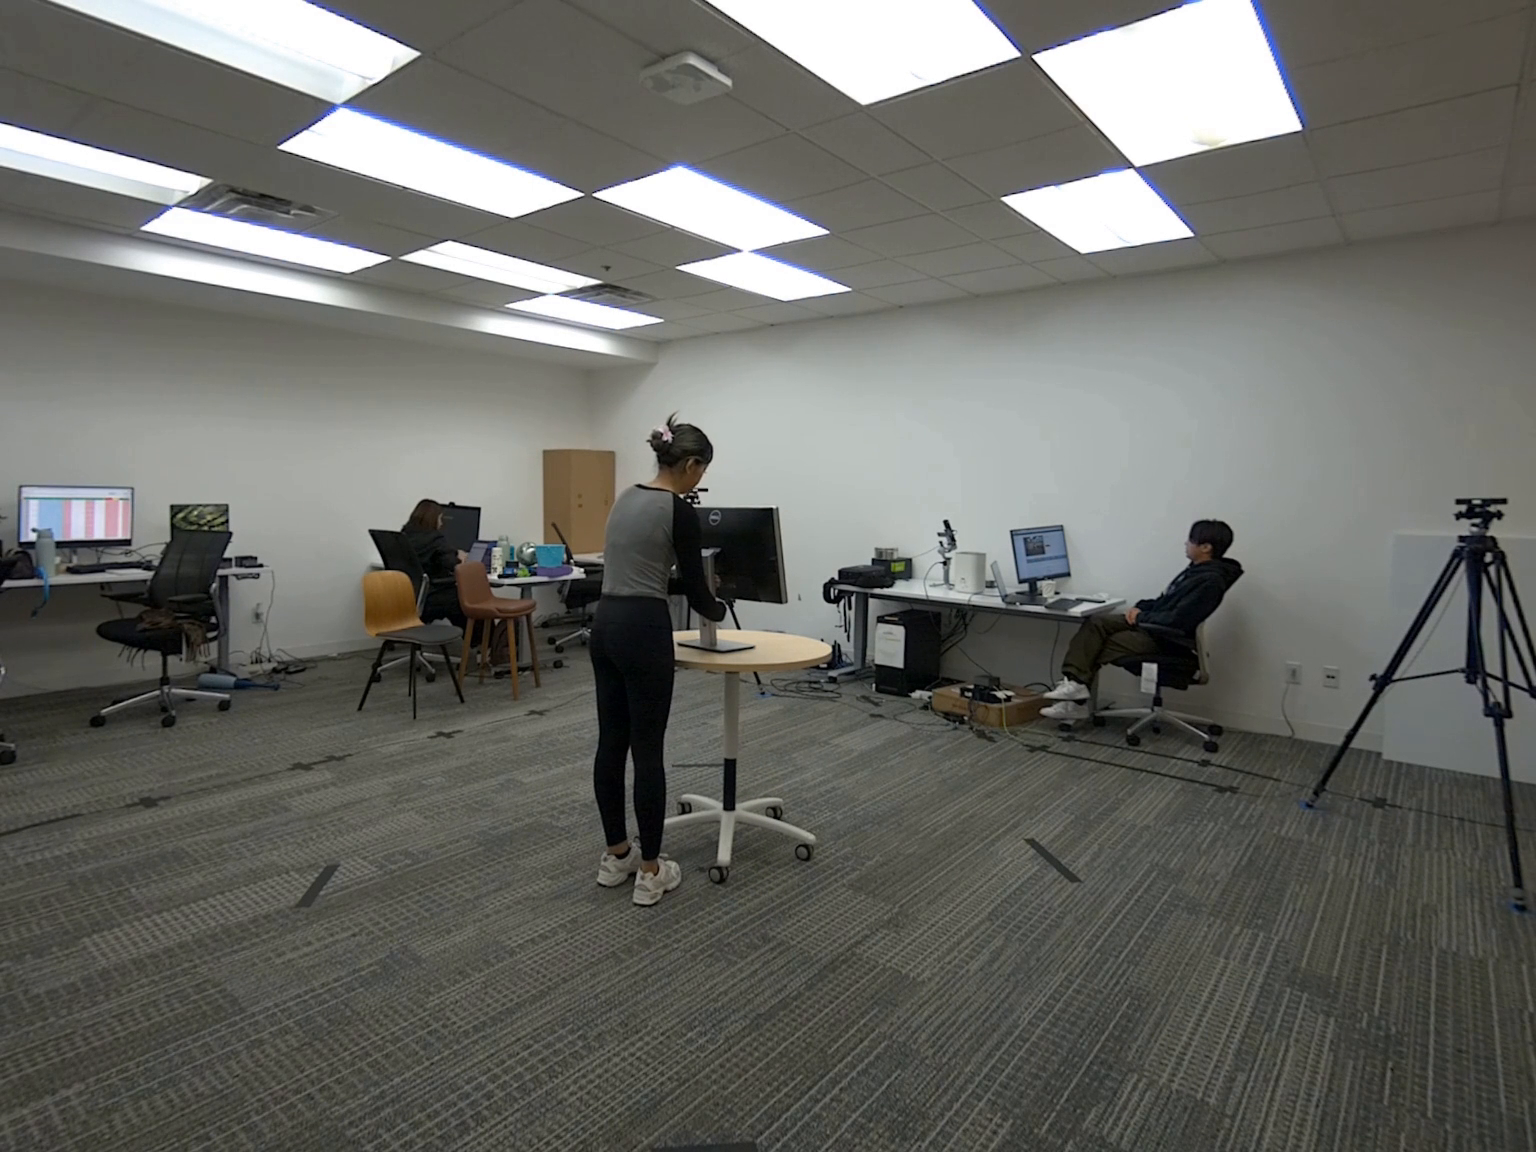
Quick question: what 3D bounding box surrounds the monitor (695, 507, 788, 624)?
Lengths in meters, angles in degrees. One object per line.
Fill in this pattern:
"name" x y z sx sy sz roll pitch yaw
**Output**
"monitor" -0.202 0.003 3.249 0.557 0.522 0.181 4 2 39
